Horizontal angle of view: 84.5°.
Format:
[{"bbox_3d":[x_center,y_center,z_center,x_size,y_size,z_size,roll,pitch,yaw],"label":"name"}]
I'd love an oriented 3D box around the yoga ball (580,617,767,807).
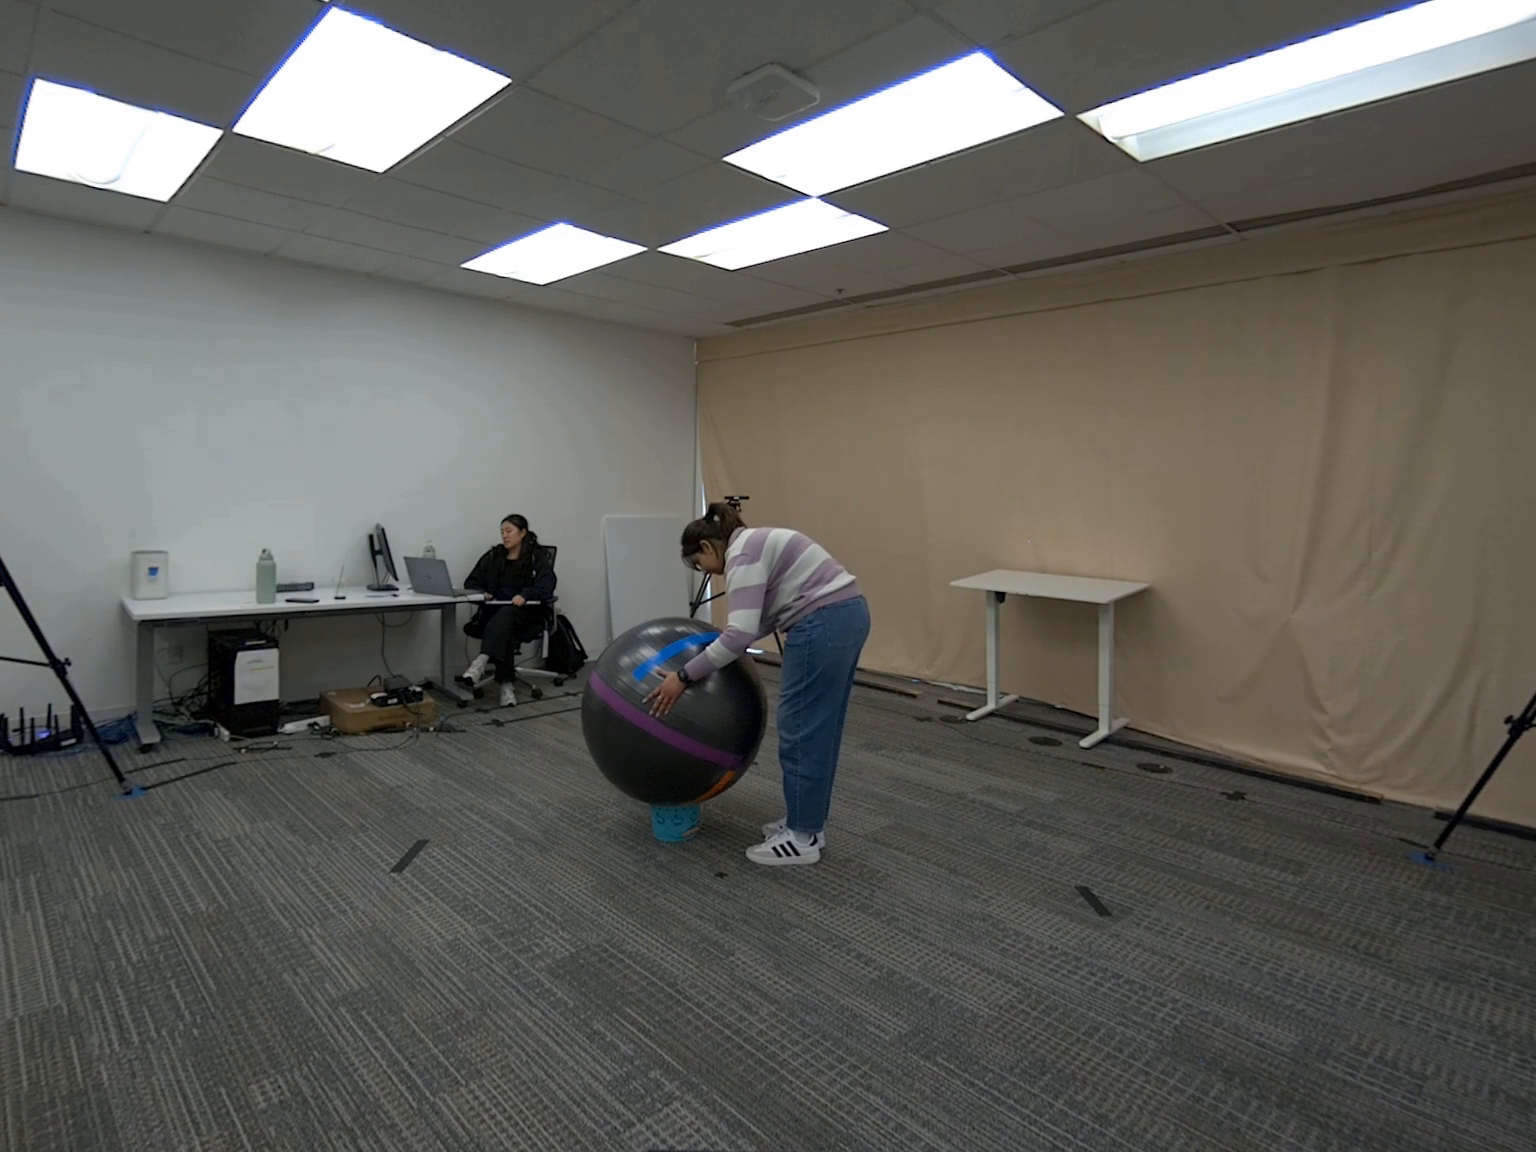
[{"bbox_3d":[-0.389,0.559,3.462,0.757,0.756,0.761,1,4,-1],"label":"yoga ball"}]
